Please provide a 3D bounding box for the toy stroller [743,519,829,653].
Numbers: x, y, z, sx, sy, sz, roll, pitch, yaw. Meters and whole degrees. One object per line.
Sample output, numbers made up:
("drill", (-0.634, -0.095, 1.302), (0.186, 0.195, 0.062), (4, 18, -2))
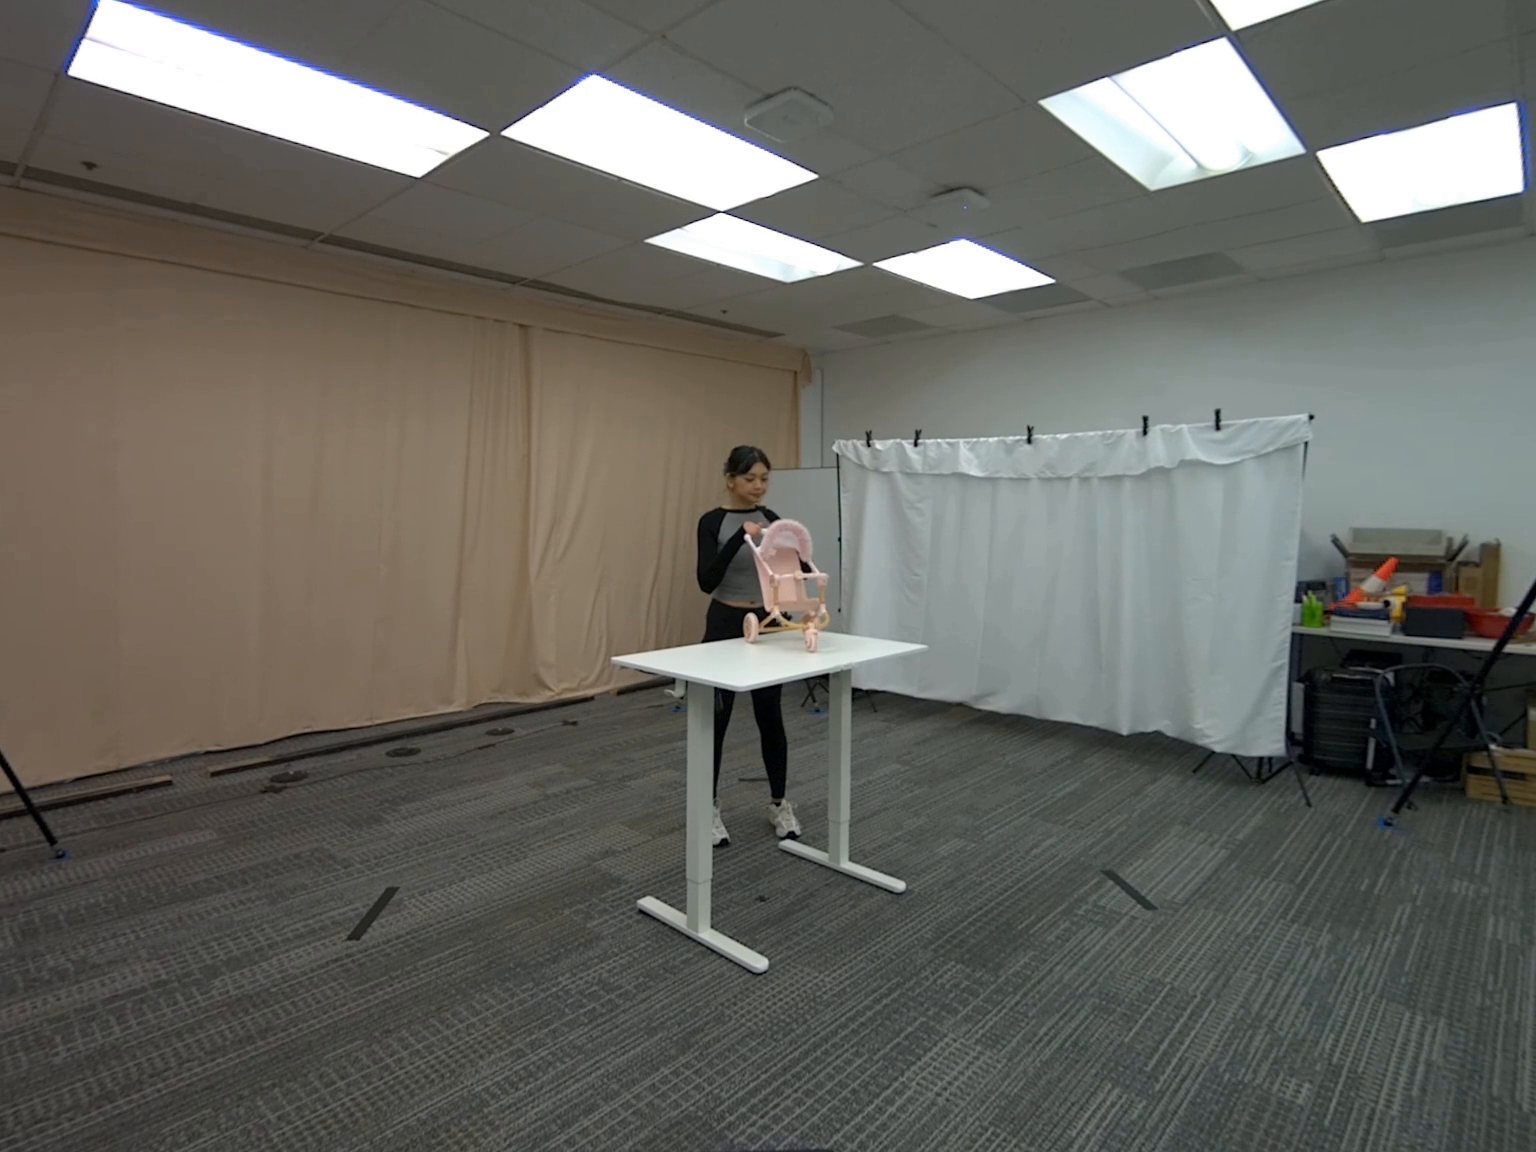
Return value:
("toy stroller", (0.077, 0.028, 3.109), (0.276, 0.540, 0.345), (-1, -13, -20))
